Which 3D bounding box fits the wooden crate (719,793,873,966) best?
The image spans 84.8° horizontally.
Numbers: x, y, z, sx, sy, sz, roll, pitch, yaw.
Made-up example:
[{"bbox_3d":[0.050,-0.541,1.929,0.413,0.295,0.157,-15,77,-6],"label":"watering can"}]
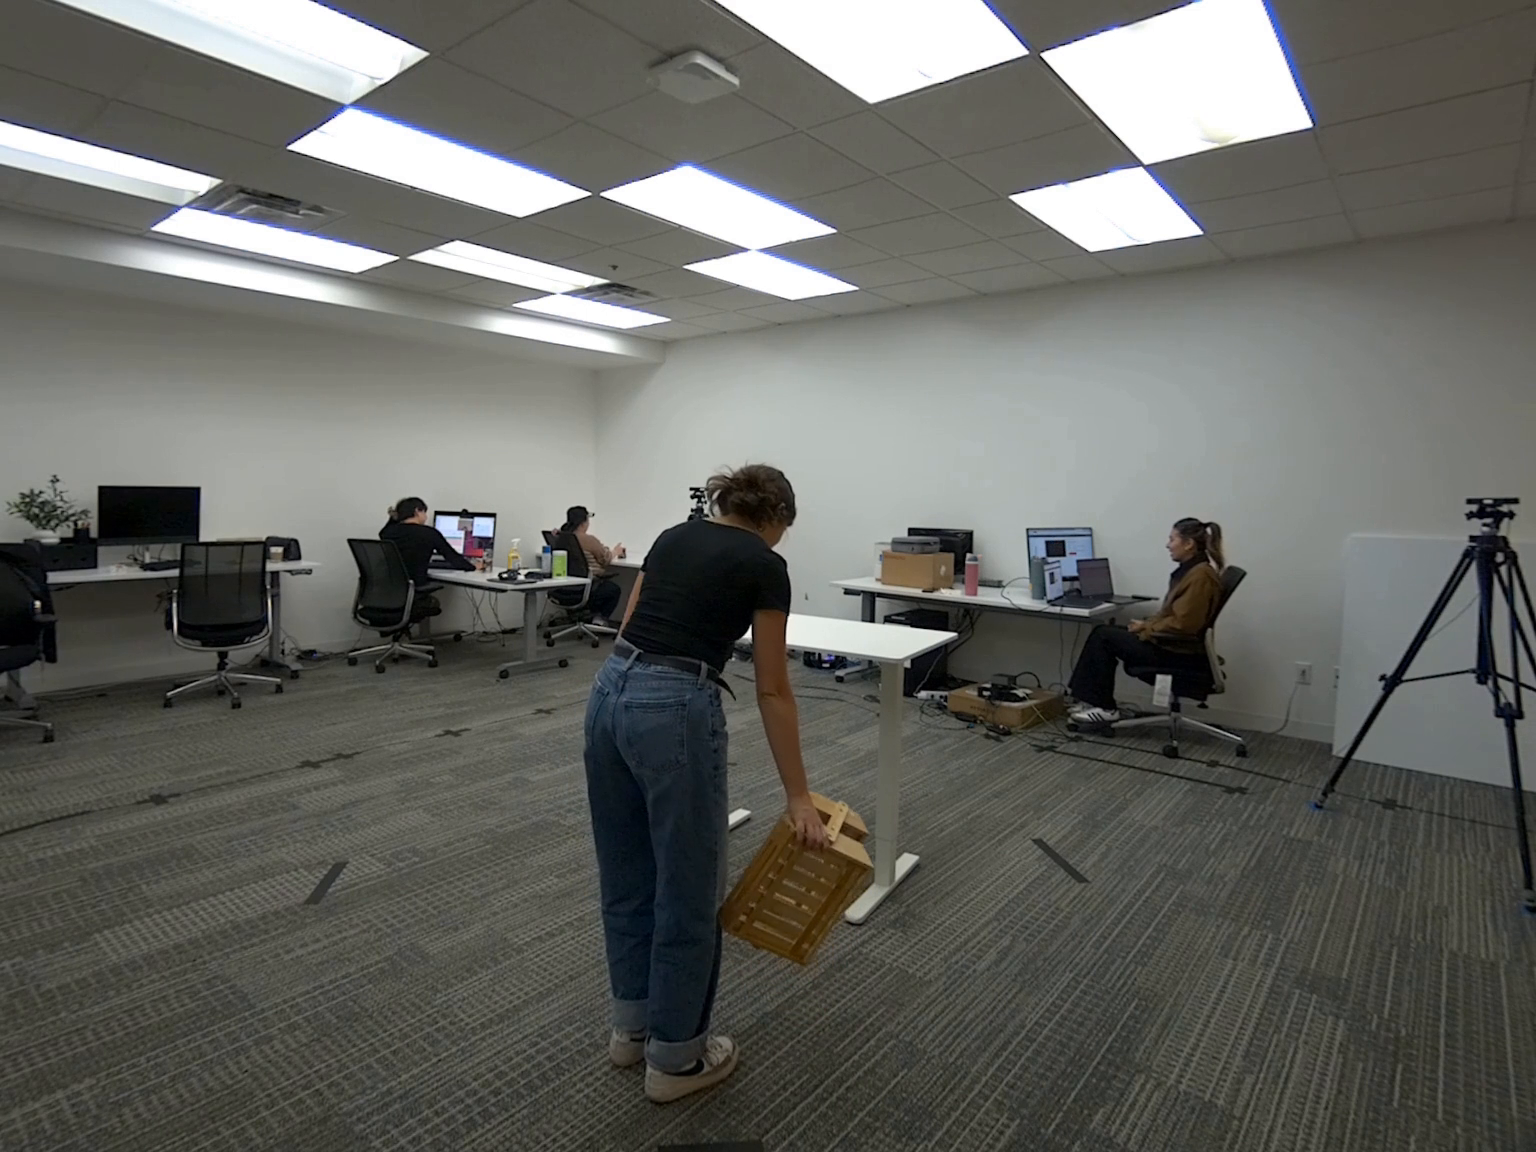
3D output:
[{"bbox_3d":[0.056,0.727,2.109,0.294,0.323,0.281,29,13,-20],"label":"wooden crate"}]
